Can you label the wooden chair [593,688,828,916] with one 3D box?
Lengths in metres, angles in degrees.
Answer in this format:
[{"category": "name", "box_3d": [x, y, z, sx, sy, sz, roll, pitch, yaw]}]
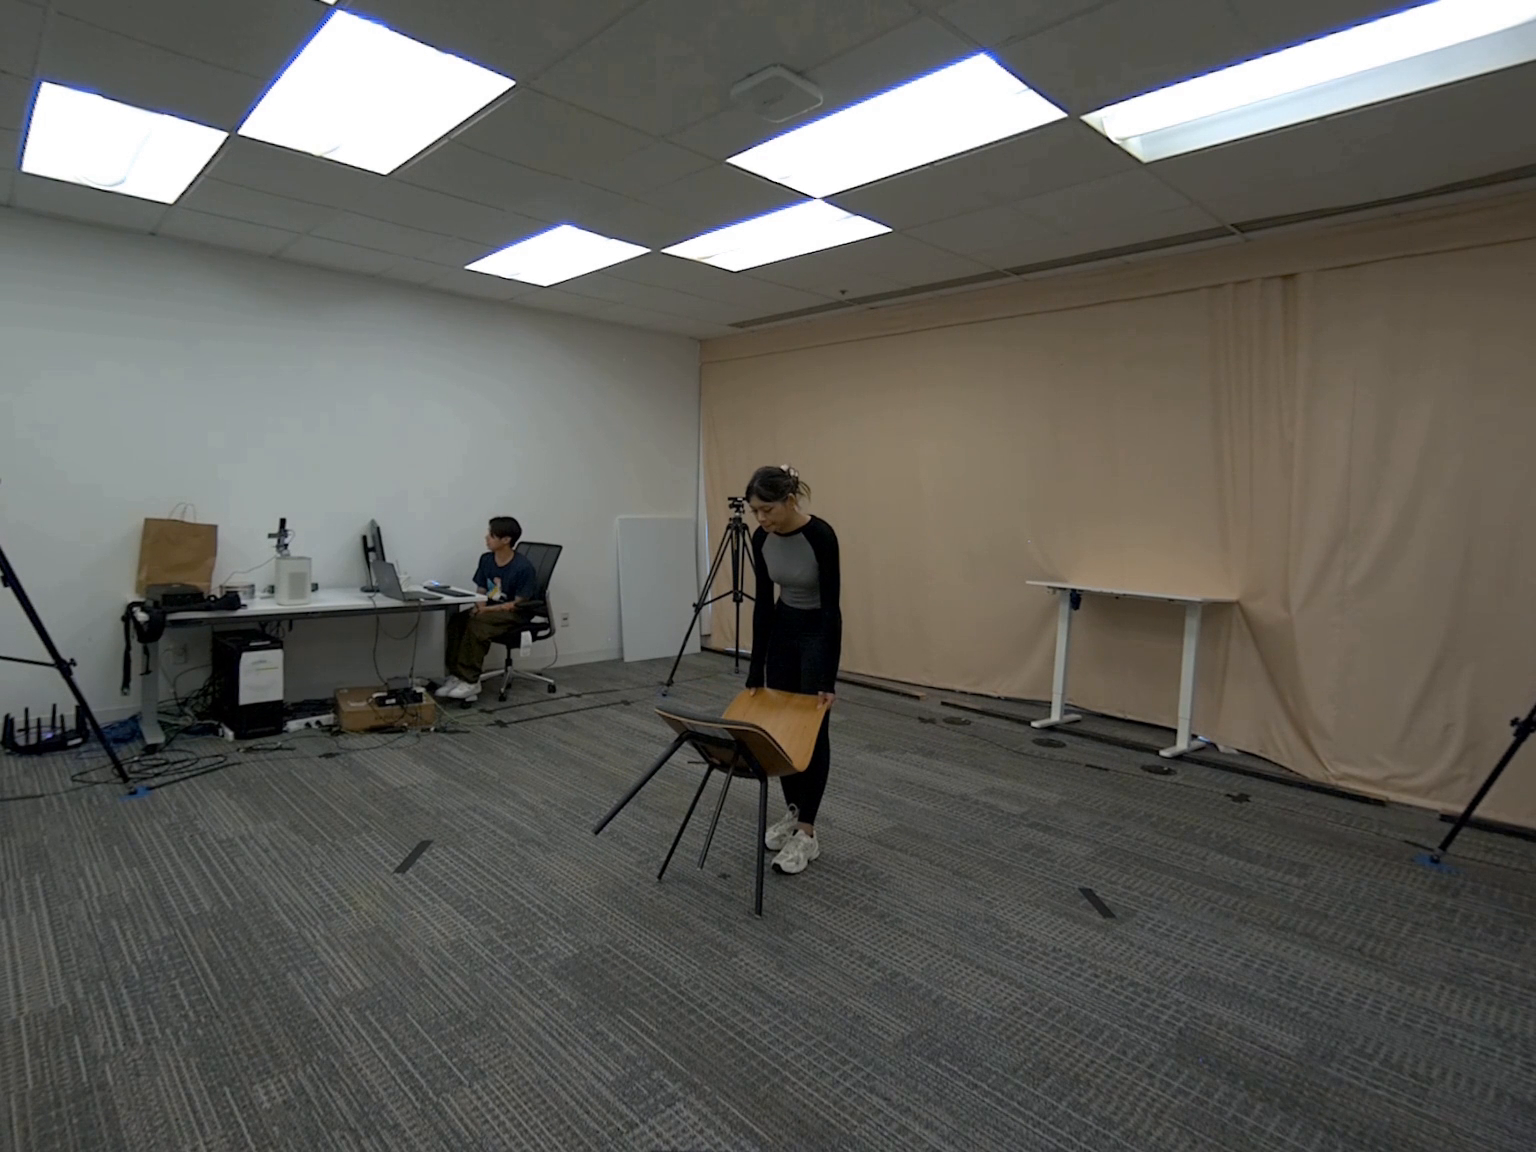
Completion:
[{"category": "wooden chair", "box_3d": [-0.158, 0.643, 2.969, 0.489, 0.883, 0.507, 3, -39, 34]}]
